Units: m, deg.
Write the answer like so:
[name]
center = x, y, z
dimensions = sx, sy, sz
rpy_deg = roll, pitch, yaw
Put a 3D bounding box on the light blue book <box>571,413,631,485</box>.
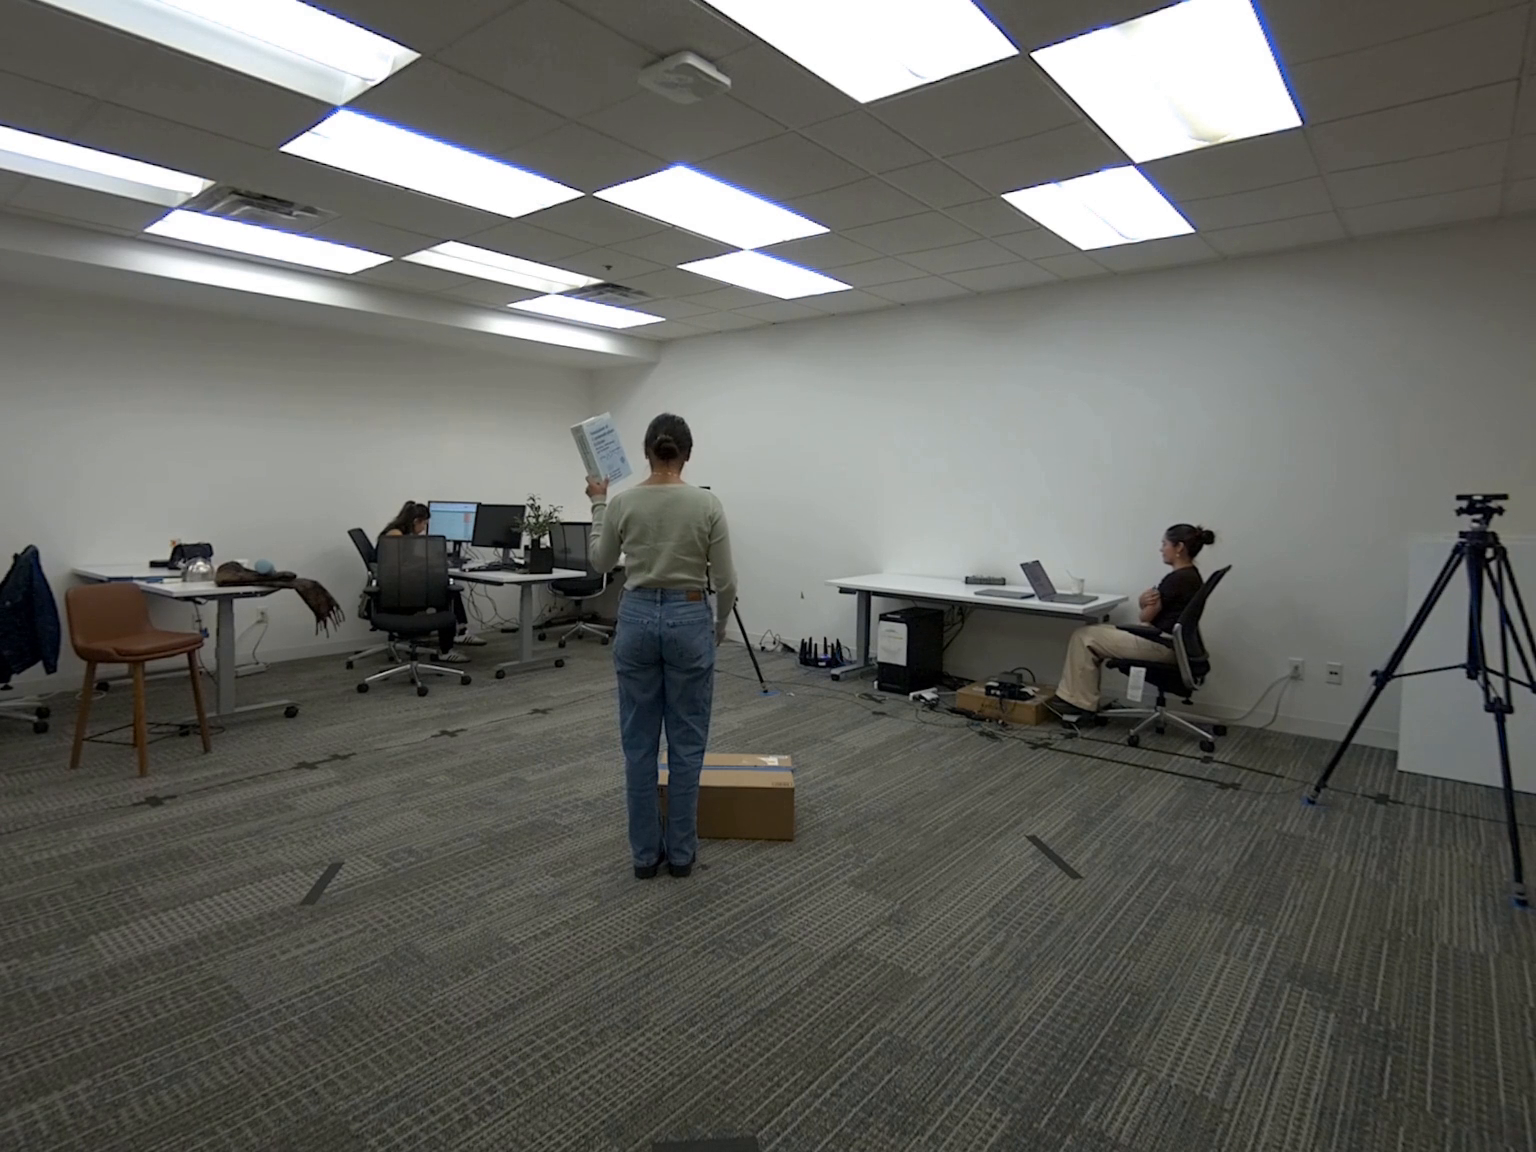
[light blue book]
center = -0.656, -0.486, 3.306
dimensions = 0.060, 0.257, 0.191
rpy_deg = -14, 15, 28
